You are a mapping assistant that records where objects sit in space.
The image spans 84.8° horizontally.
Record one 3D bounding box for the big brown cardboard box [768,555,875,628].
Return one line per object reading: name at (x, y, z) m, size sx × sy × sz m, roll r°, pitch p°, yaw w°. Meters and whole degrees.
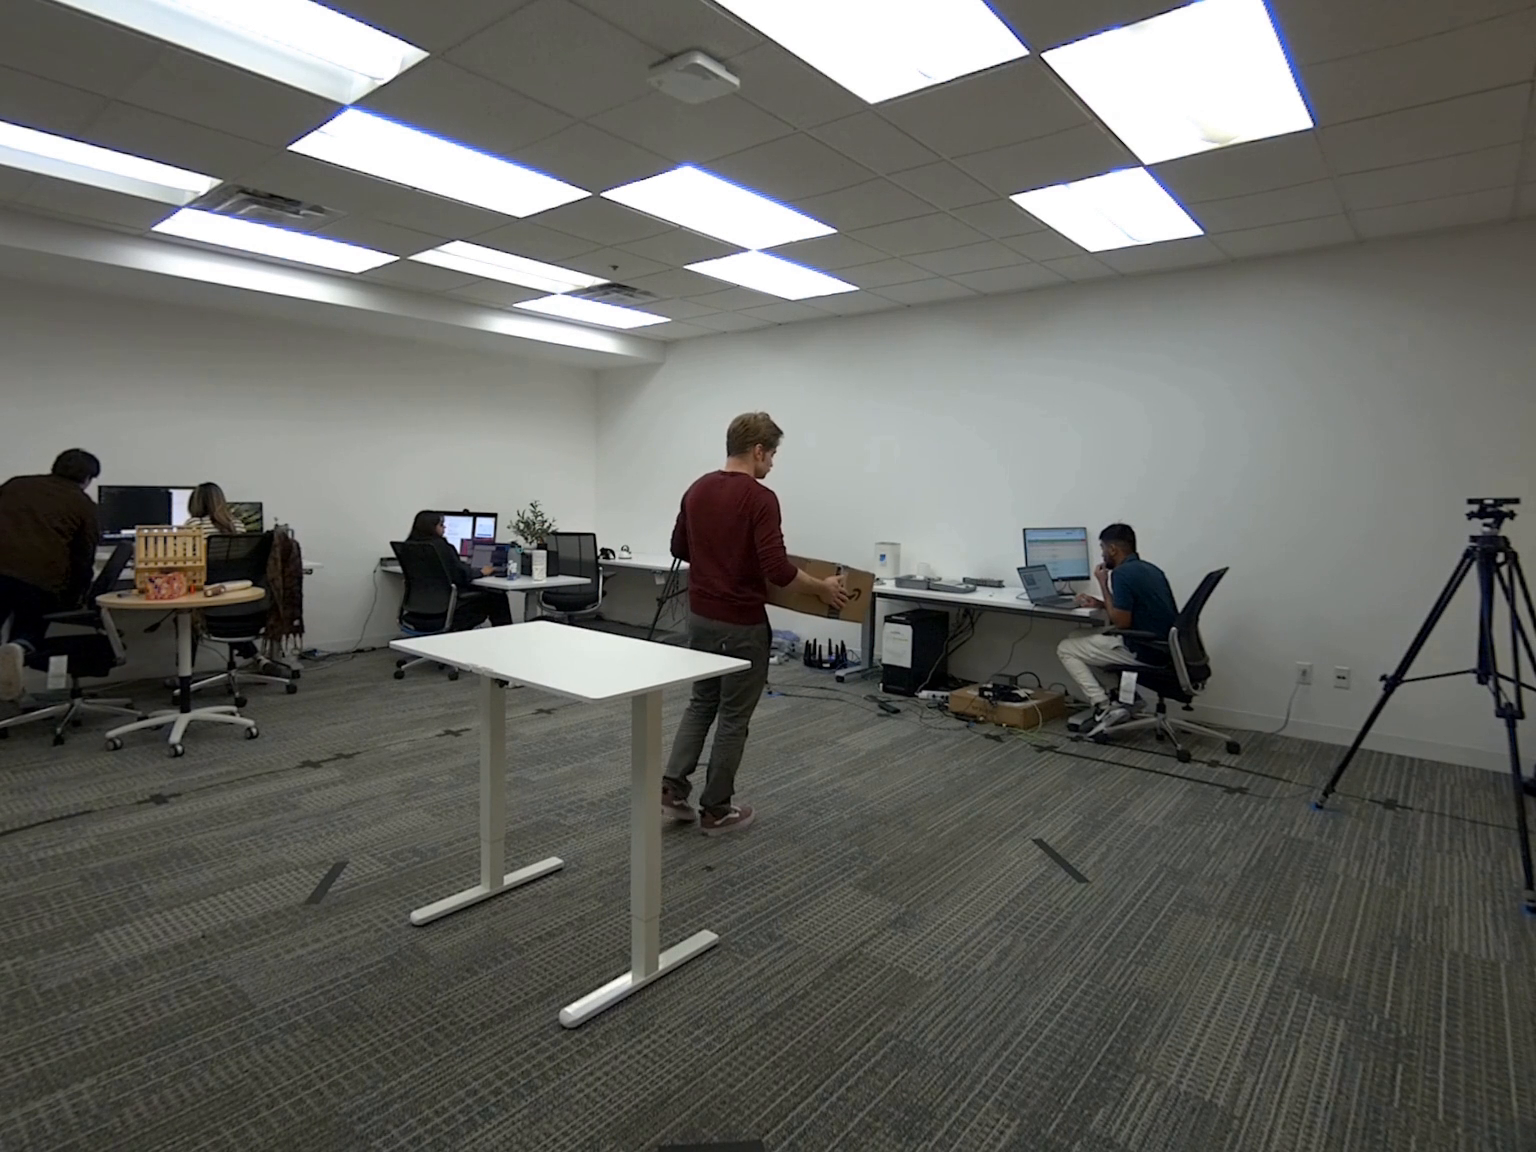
big brown cardboard box at (0.088, 0.021, 3.638) m, size 0.402 × 0.233 × 0.611 m, roll 11°, pitch 2°, yaw -42°
